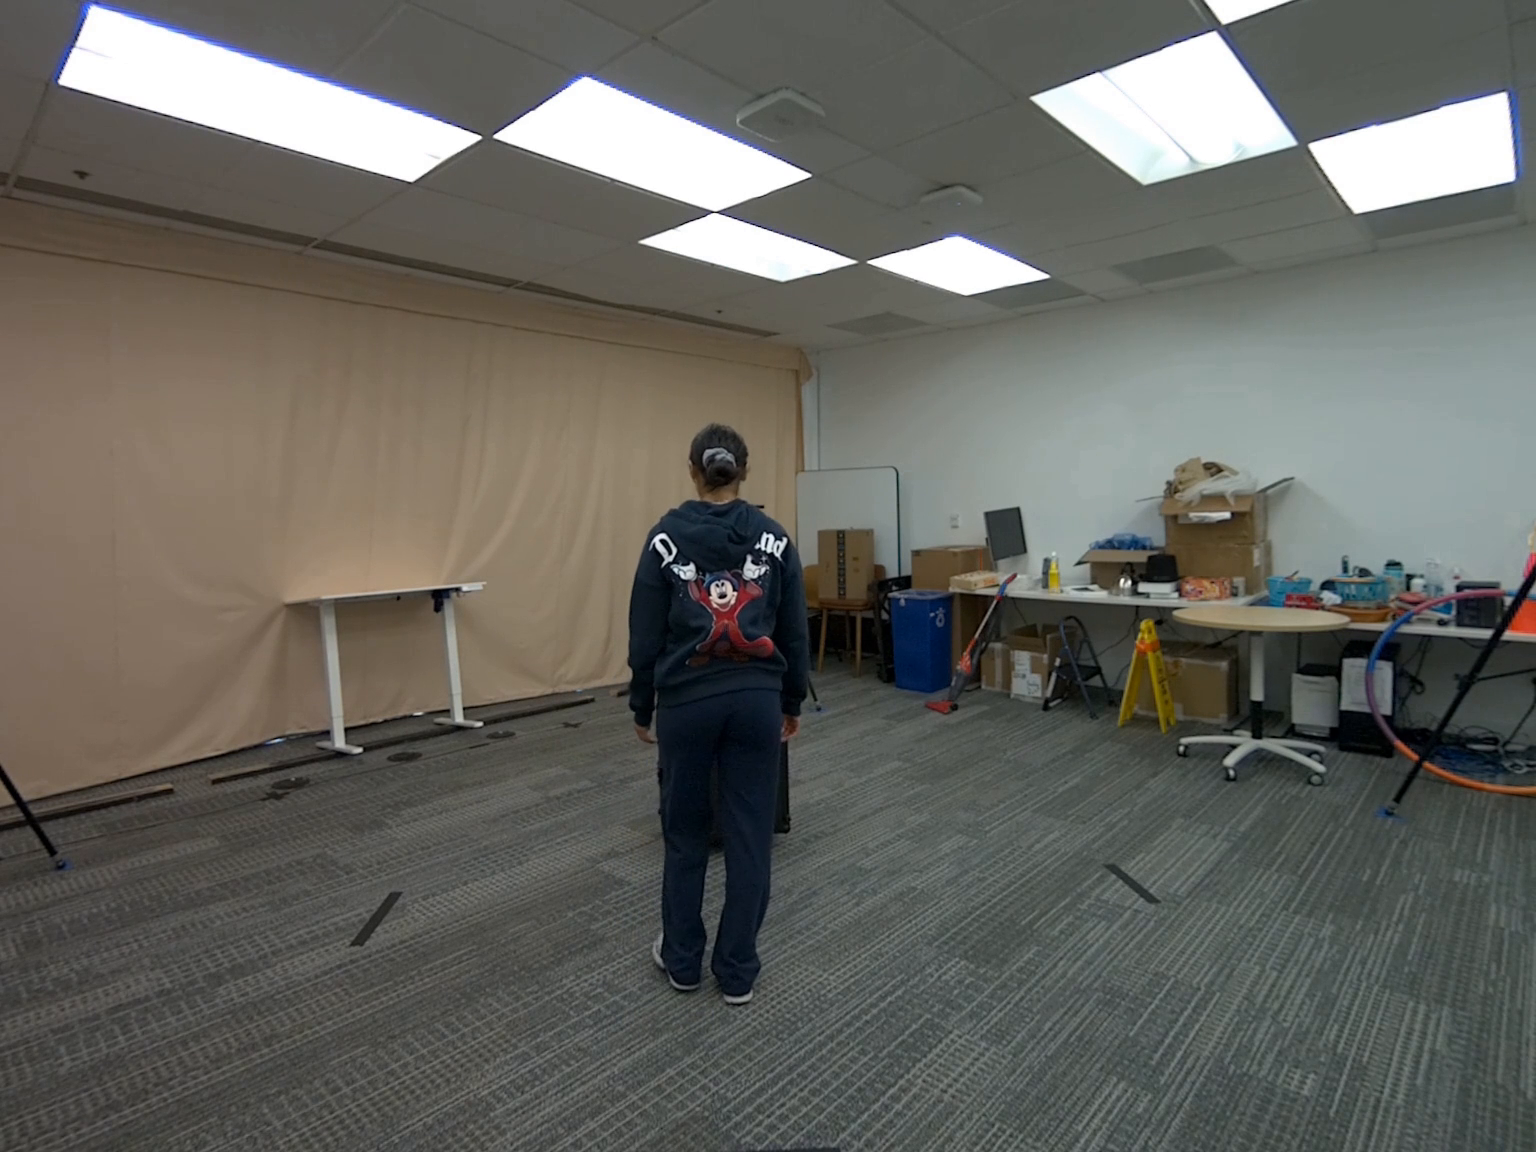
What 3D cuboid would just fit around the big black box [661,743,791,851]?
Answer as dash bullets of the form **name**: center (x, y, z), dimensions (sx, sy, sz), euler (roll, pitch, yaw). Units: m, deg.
- **big black box**: center (-0.186, 0.672, 3.489), dimensions (0.514, 0.859, 0.403), euler (-1, 4, -14)
